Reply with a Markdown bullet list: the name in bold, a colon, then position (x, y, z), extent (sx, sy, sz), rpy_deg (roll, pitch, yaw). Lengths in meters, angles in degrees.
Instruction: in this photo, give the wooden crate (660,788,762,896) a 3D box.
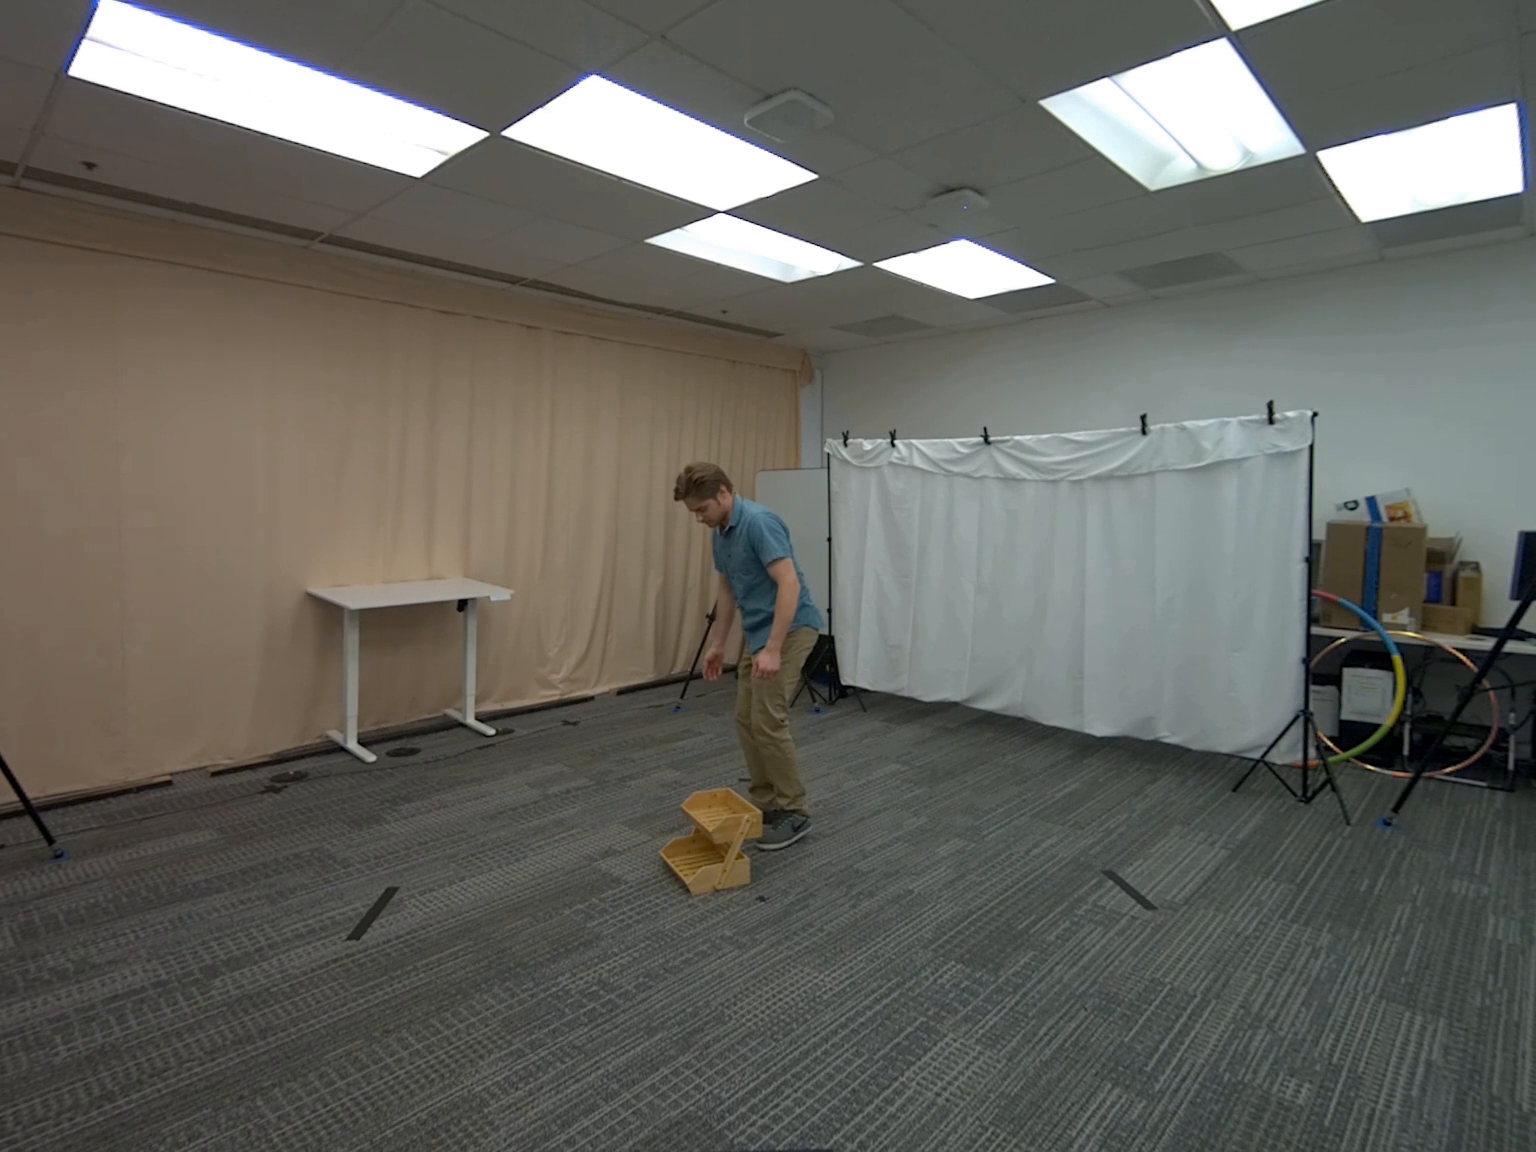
- **wooden crate**: position (-0.224, 0.993, 3.194), extent (0.295, 0.272, 0.333), rpy_deg (-2, 5, -26)
